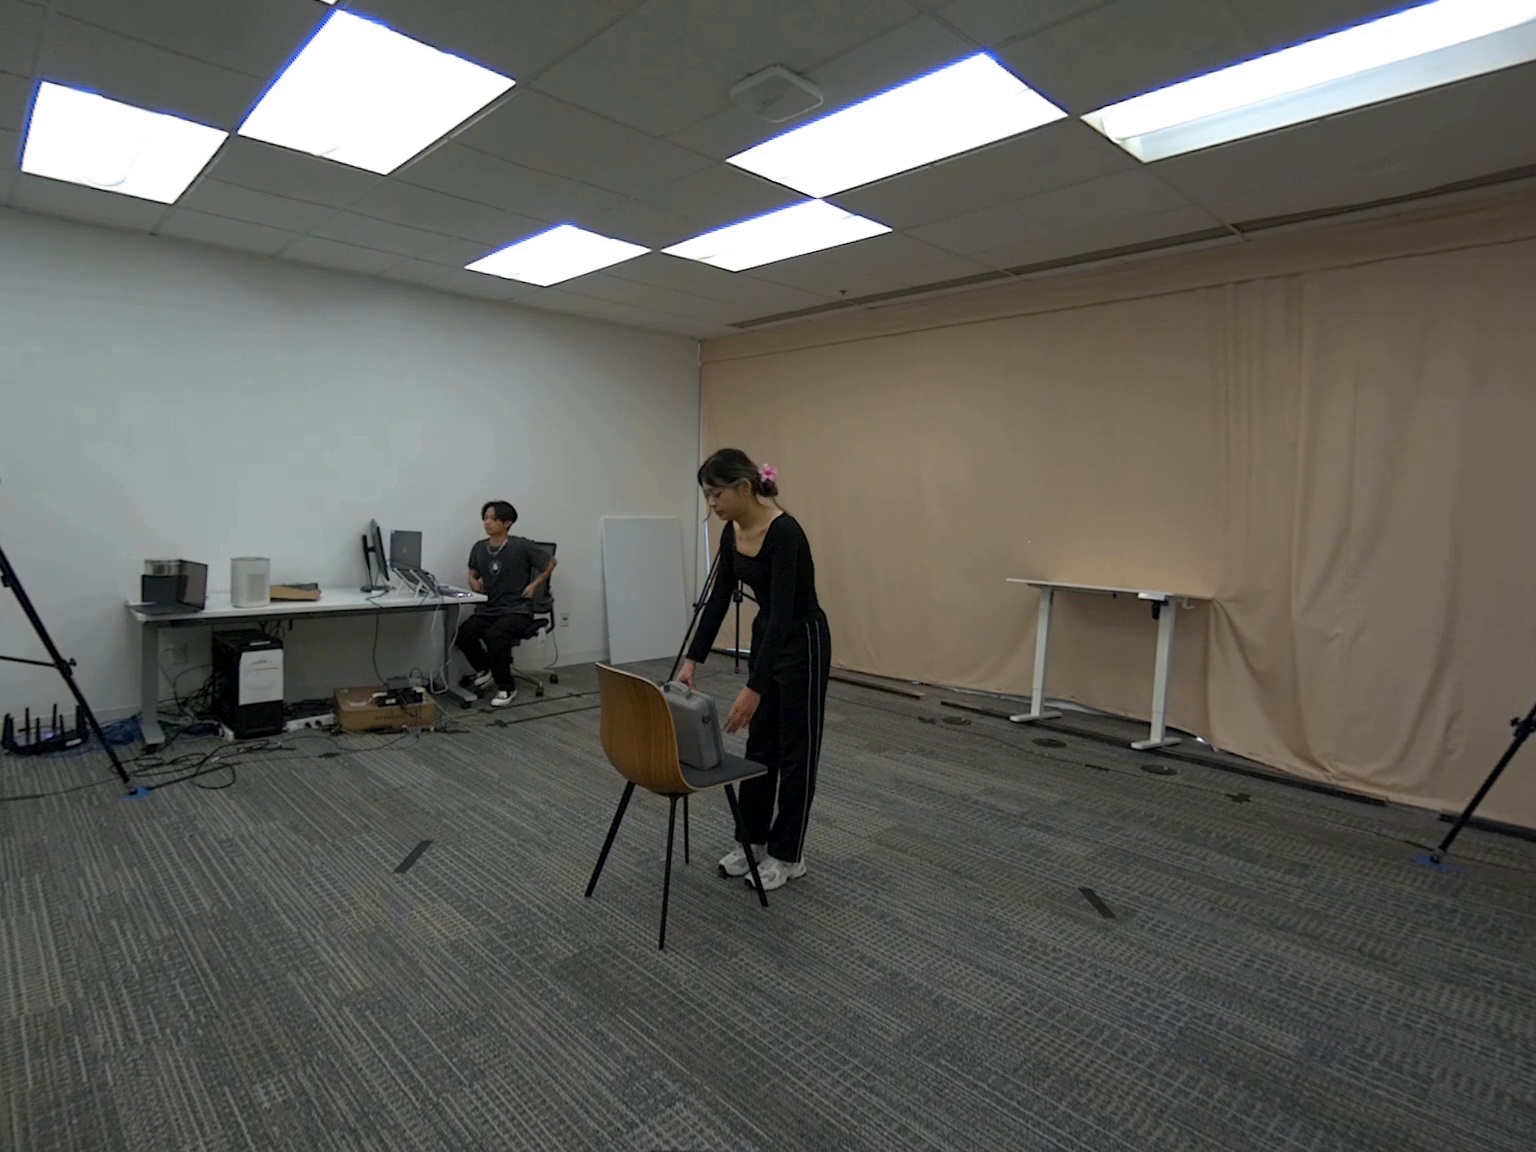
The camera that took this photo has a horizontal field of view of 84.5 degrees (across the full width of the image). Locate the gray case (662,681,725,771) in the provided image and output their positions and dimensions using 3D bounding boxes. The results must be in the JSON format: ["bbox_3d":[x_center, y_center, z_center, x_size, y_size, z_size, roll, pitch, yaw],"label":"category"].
[{"bbox_3d":[-0.285,0.511,2.890,0.103,0.258,0.264,-19,18,-40],"label":"gray case"}]
